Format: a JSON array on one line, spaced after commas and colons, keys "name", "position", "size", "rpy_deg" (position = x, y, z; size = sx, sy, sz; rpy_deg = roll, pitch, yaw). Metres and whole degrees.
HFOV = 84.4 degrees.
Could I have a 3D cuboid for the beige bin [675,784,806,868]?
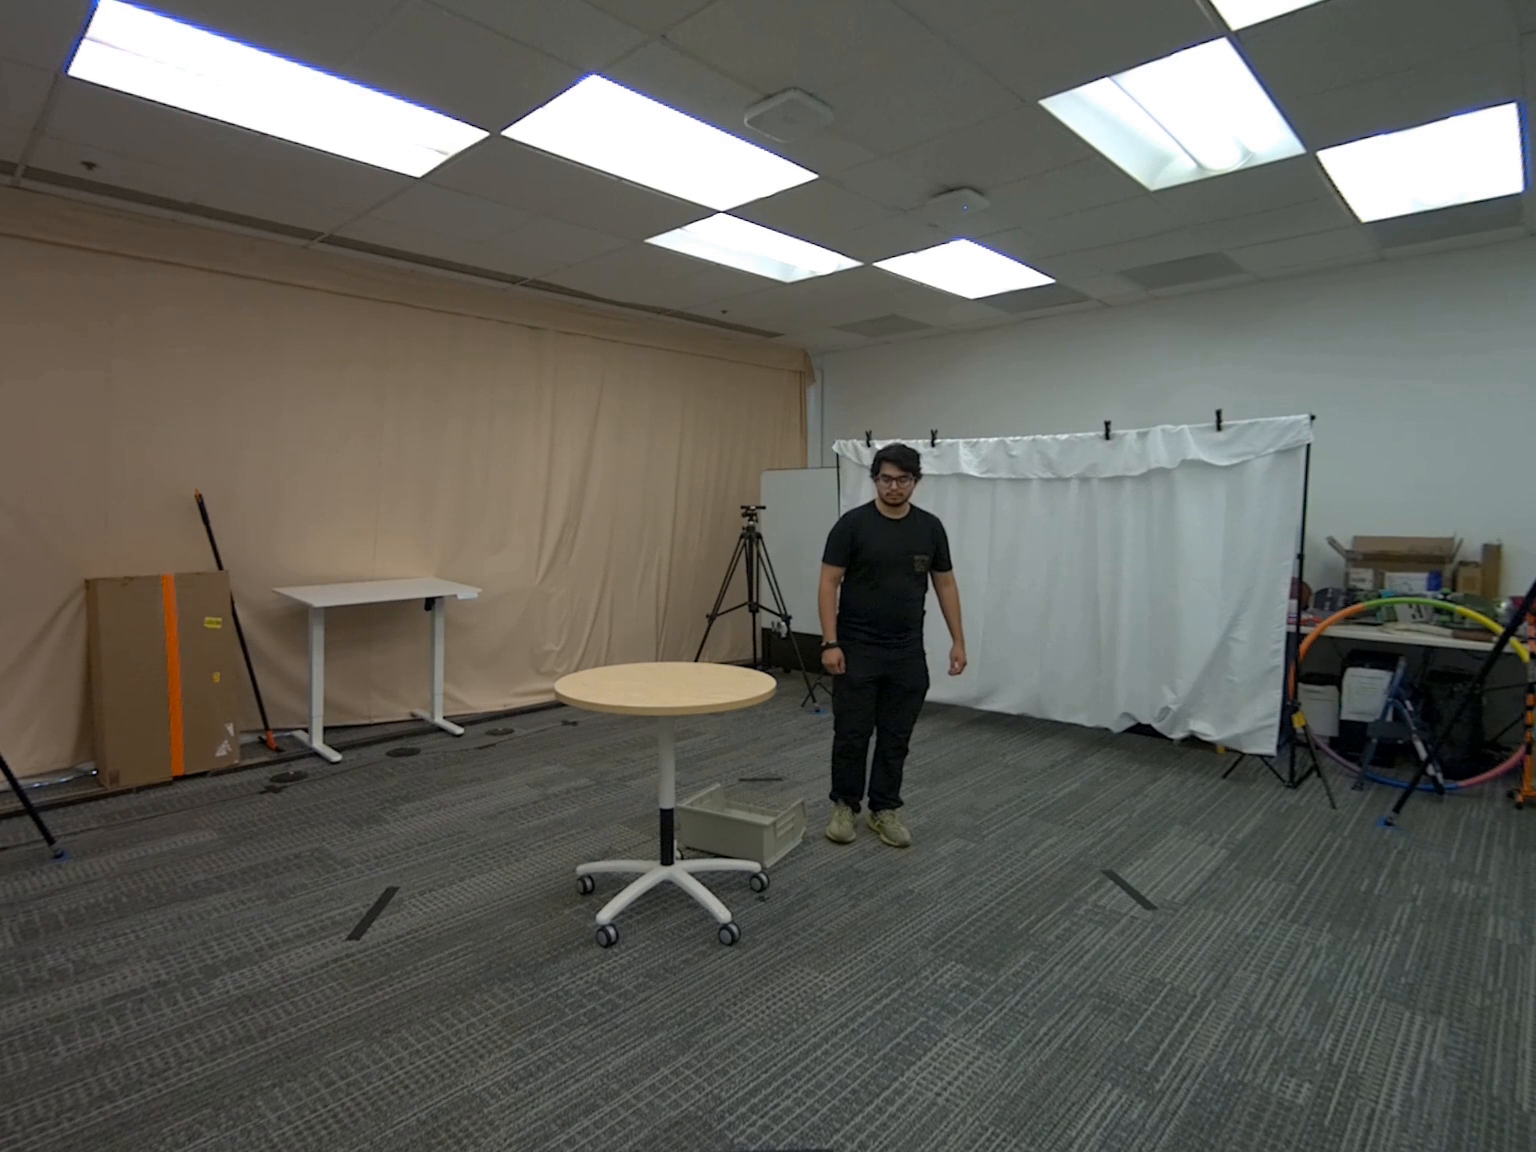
[{"name": "beige bin", "position": [-0.103, 1.015, 3.479], "size": [0.434, 0.188, 0.368], "rpy_deg": [3, 6, 29]}]
